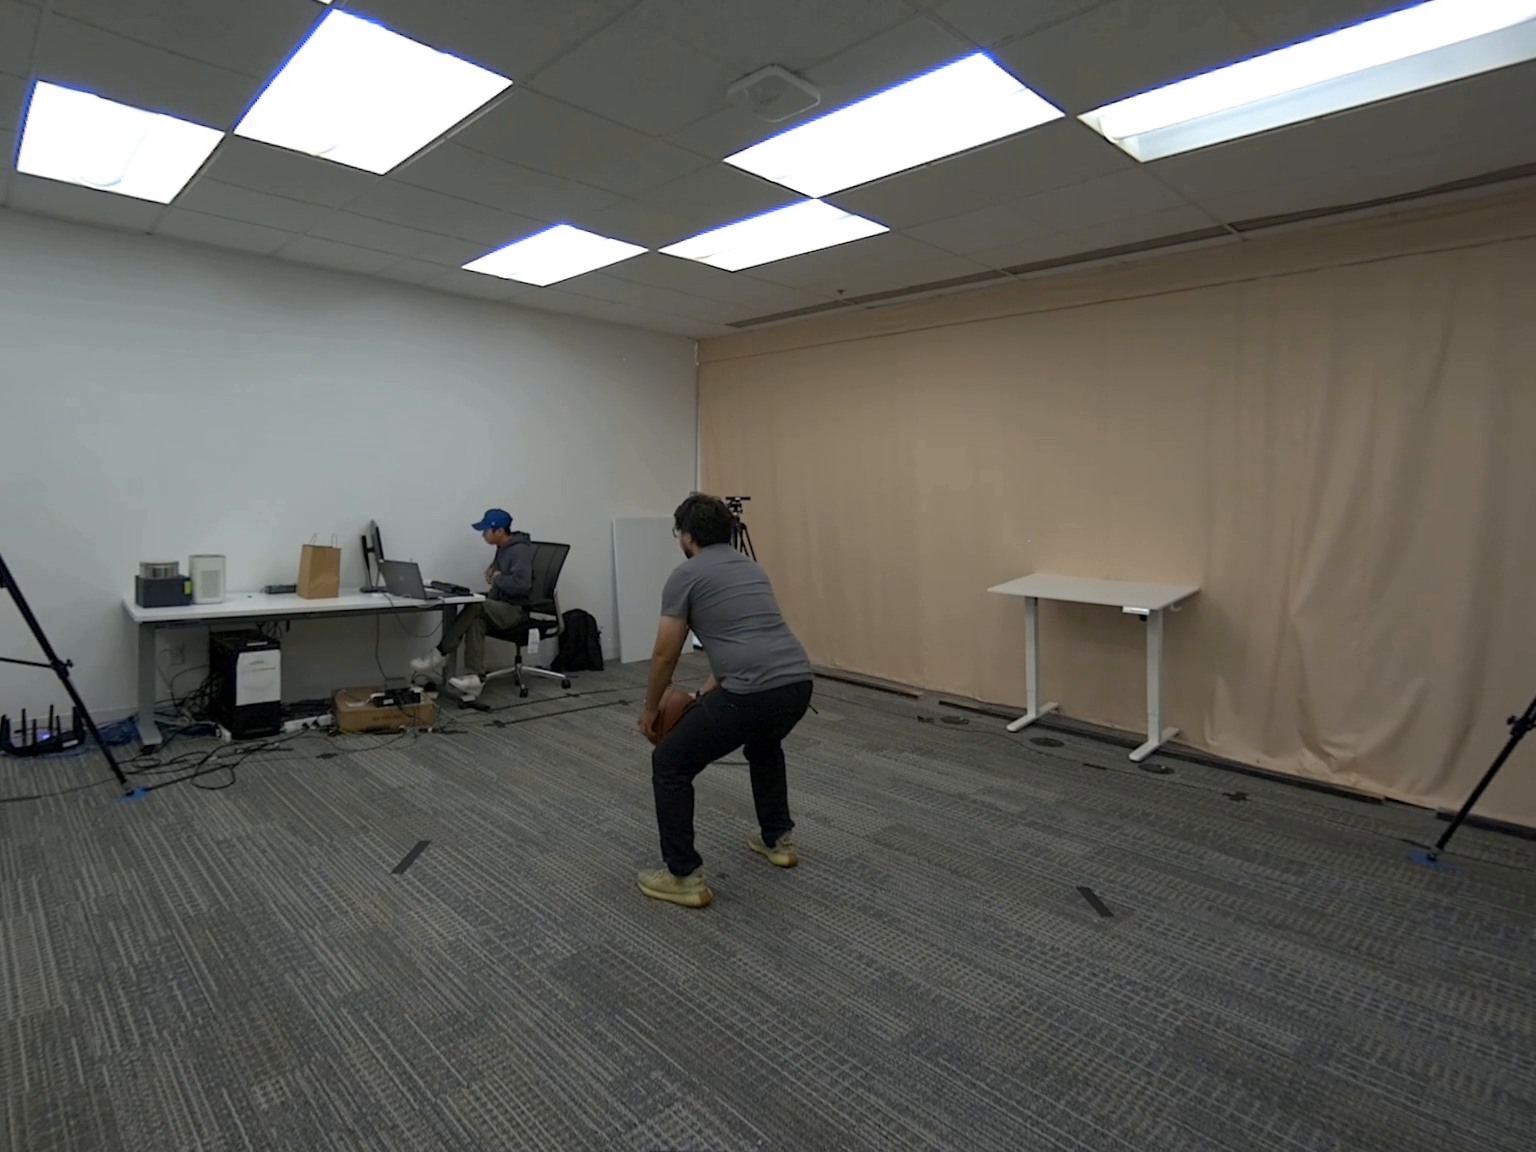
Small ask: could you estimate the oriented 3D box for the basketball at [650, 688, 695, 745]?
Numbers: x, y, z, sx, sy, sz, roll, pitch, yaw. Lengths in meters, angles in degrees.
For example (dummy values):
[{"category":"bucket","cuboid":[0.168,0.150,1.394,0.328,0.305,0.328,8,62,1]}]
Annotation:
[{"category":"basketball","cuboid":[-0.383,0.569,3.341,0.236,0.235,0.237,1,4,-1]}]
